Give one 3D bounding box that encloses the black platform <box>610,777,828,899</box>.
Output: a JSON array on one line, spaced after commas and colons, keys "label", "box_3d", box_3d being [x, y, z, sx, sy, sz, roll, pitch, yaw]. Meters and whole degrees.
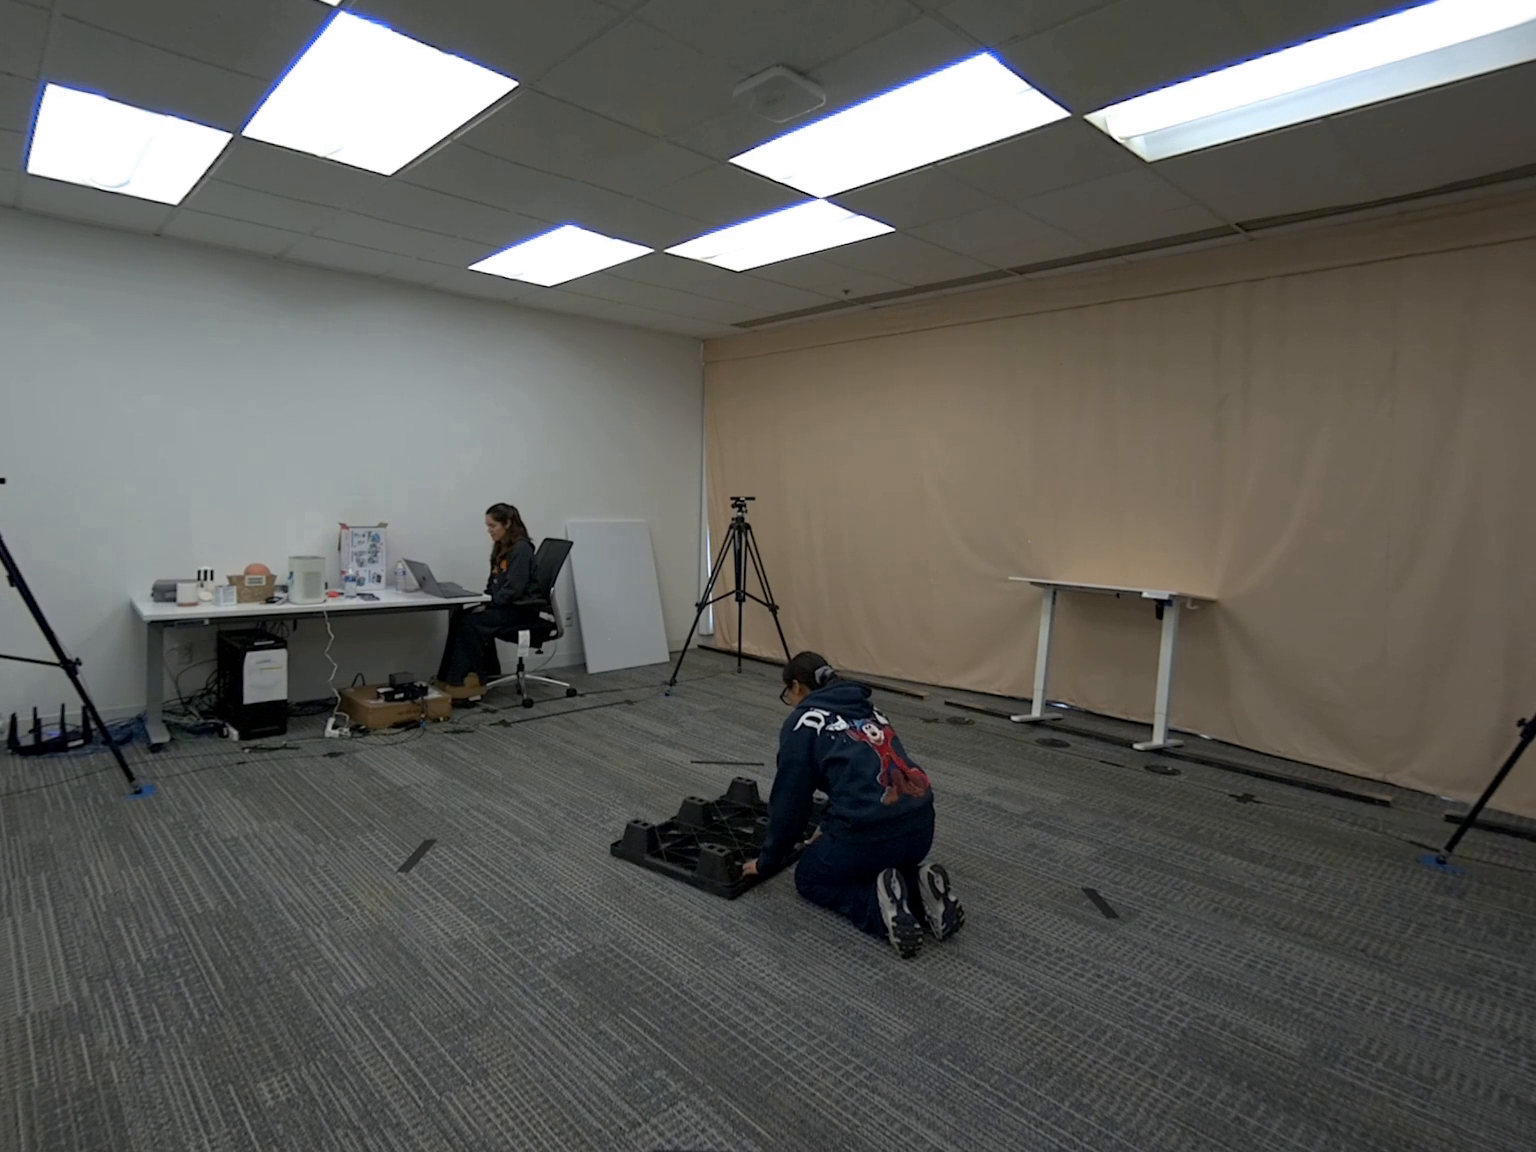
[{"label": "black platform", "box_3d": [-0.157, 1.013, 3.397, 0.619, 0.143, 0.789, 4, 6, 35]}]
